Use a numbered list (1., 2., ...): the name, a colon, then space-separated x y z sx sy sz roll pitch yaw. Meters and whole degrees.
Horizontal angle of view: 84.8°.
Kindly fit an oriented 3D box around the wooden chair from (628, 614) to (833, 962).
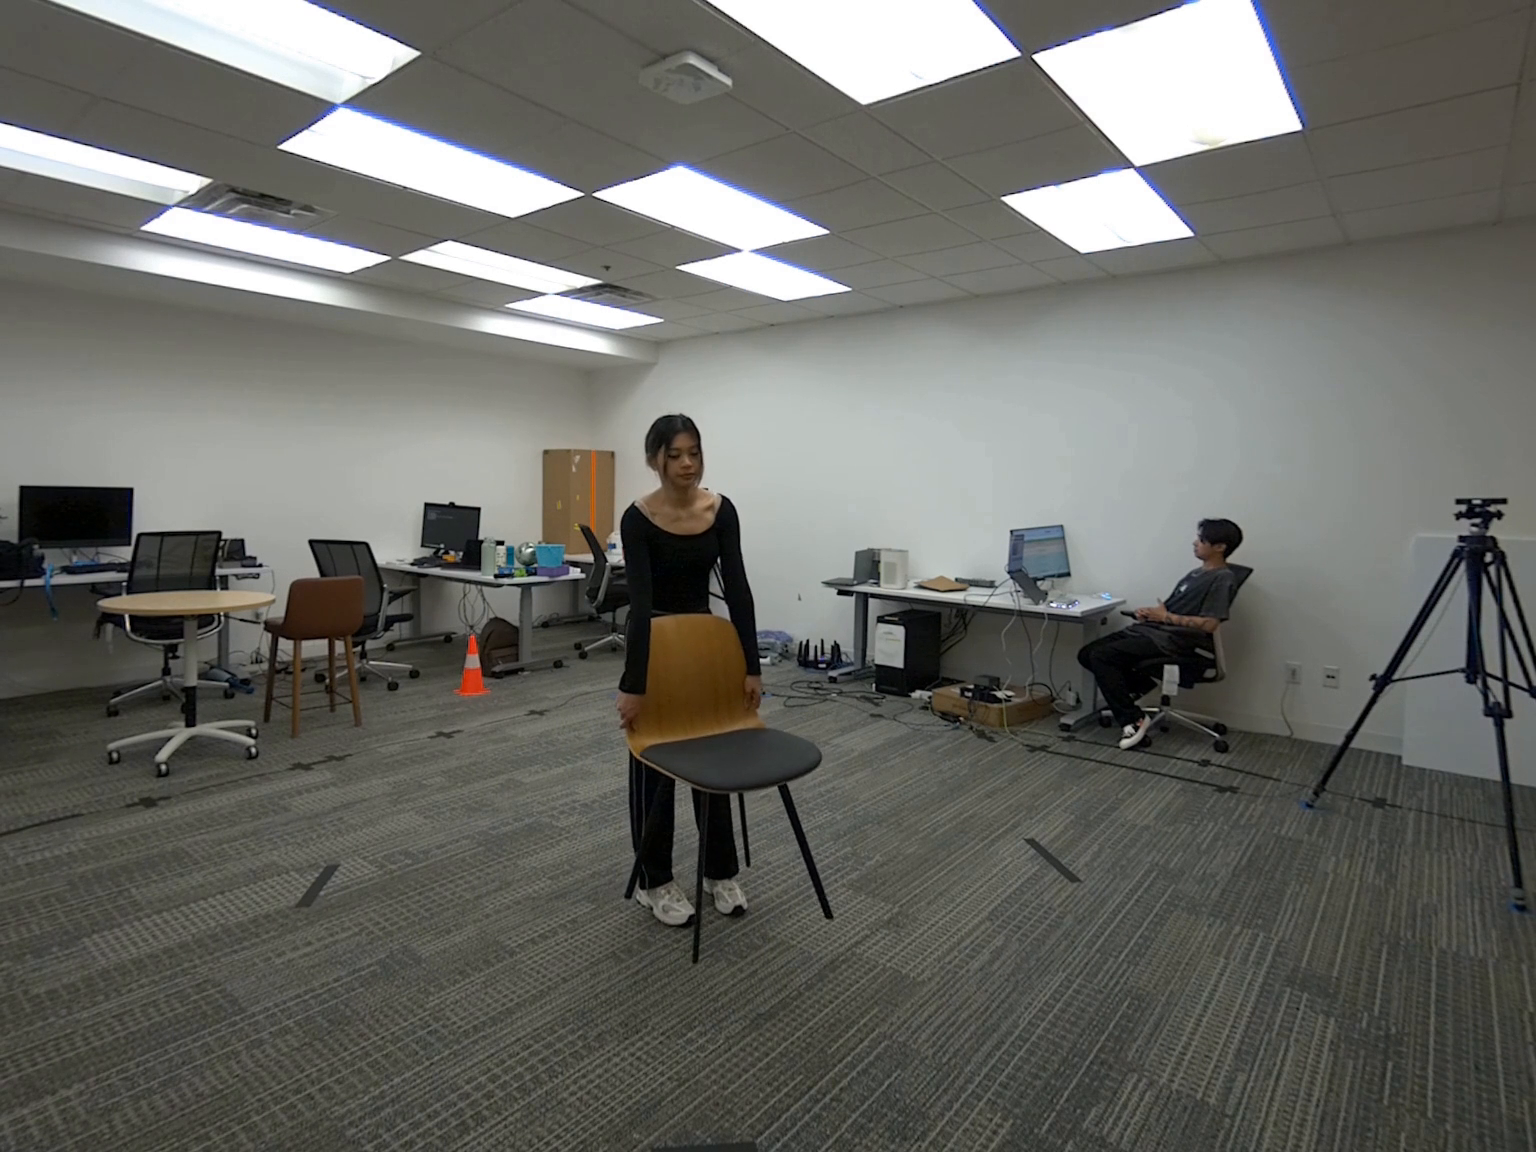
1. wooden chair: -0.139 0.559 2.492 0.465 0.880 0.536 -3 -2 -32
